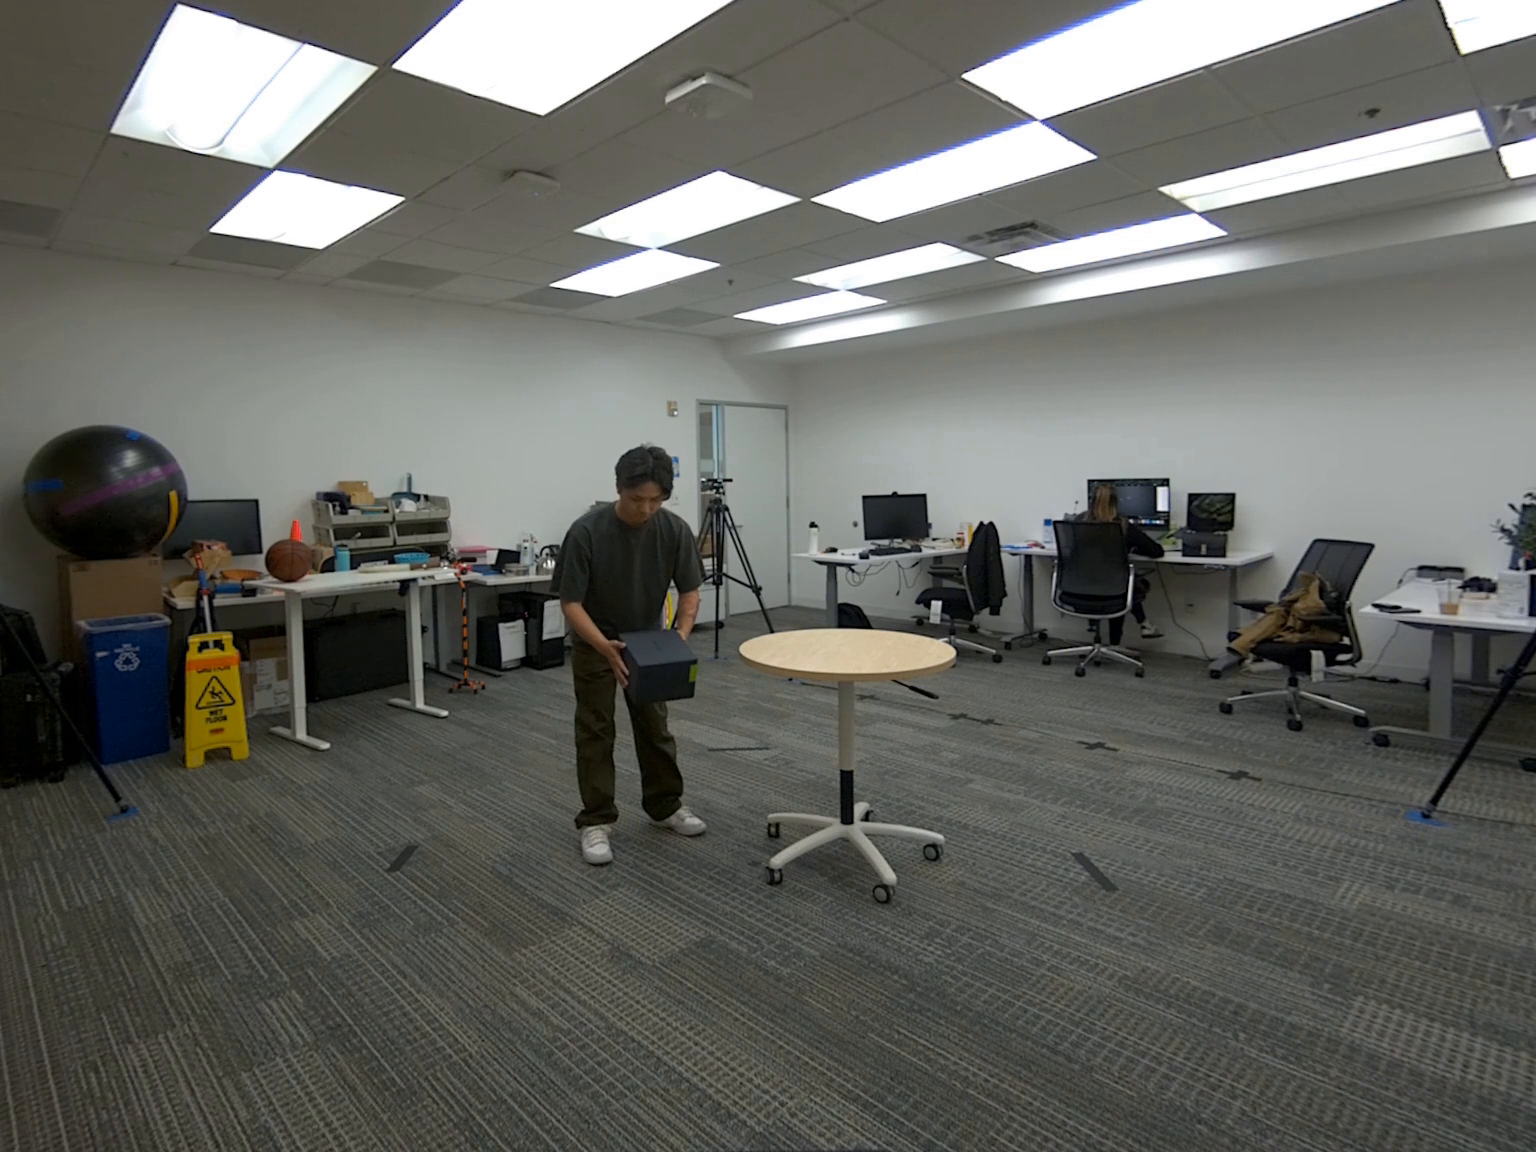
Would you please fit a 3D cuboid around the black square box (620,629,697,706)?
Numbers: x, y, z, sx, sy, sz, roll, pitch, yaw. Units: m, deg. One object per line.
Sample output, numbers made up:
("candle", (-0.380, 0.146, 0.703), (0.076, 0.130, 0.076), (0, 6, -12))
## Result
("black square box", (-0.385, 0.316, 2.962), (0.212, 0.153, 0.236), (-4, 24, -27))
